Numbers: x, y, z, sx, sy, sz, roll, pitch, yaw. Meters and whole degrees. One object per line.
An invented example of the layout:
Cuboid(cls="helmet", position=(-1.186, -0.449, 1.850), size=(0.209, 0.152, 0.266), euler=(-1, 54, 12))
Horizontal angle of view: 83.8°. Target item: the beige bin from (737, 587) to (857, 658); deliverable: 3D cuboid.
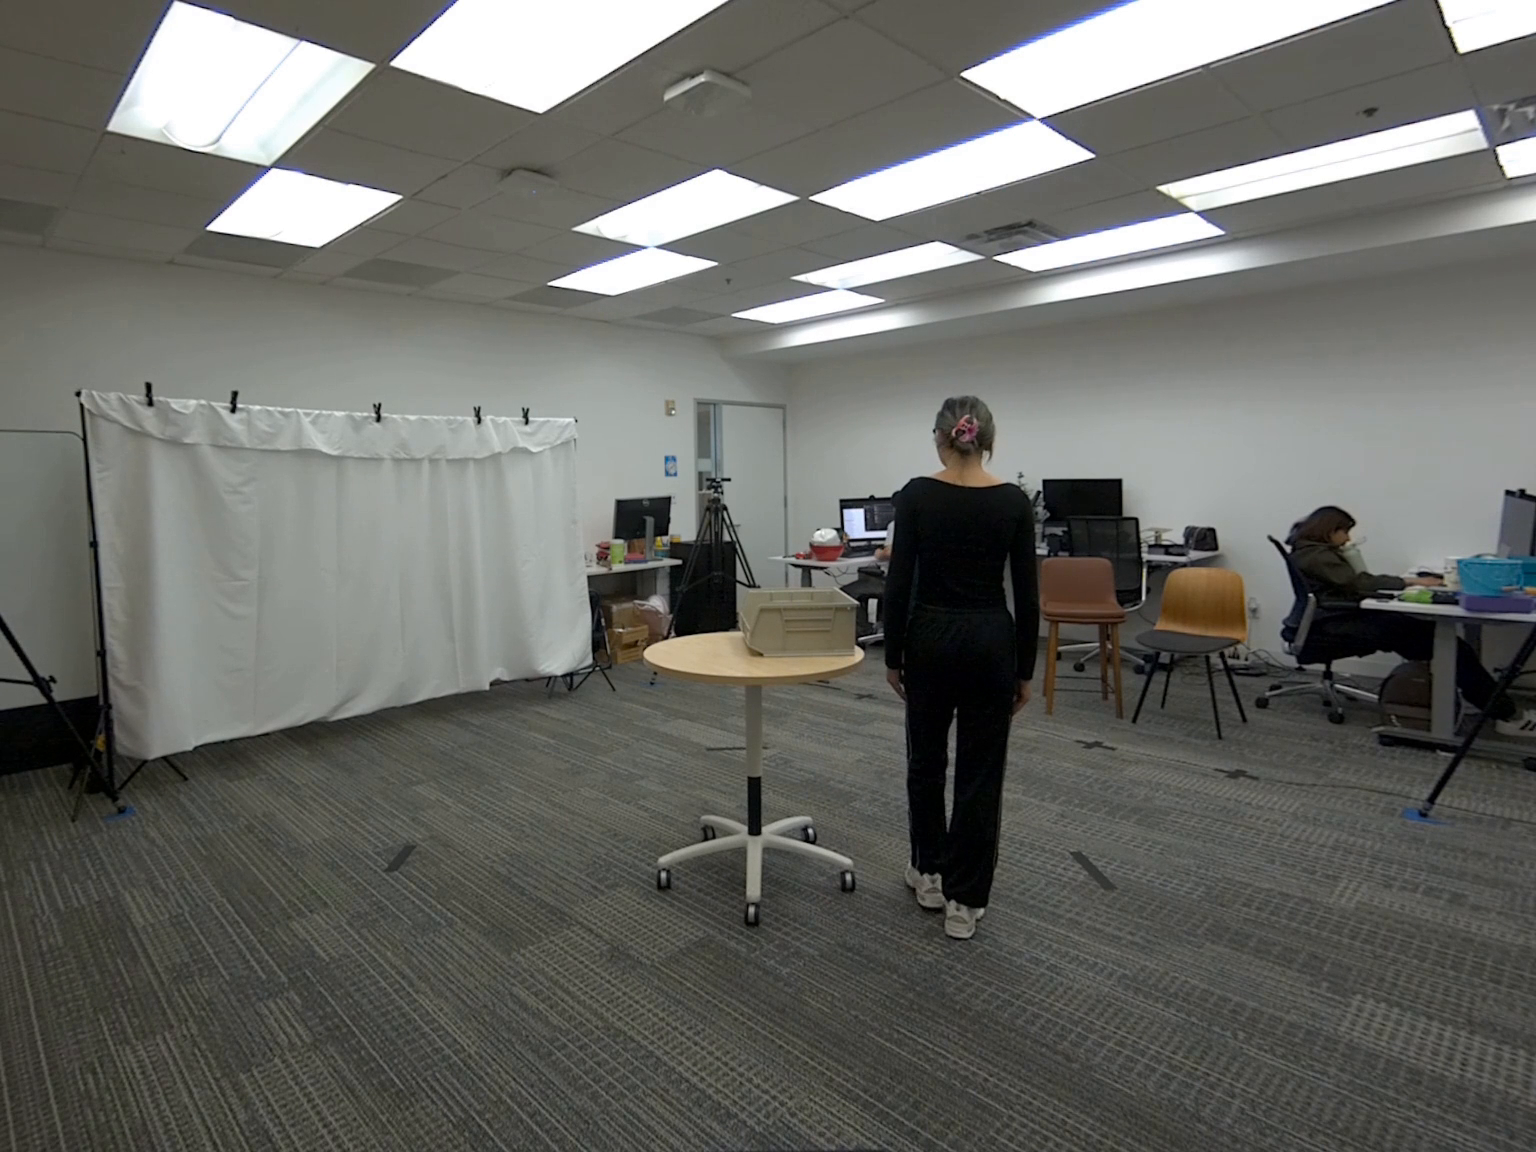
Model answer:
Cuboid(cls="beige bin", position=(0.102, 0.161, 3.084), size=(0.376, 0.188, 0.426), euler=(-1, 6, -5))
